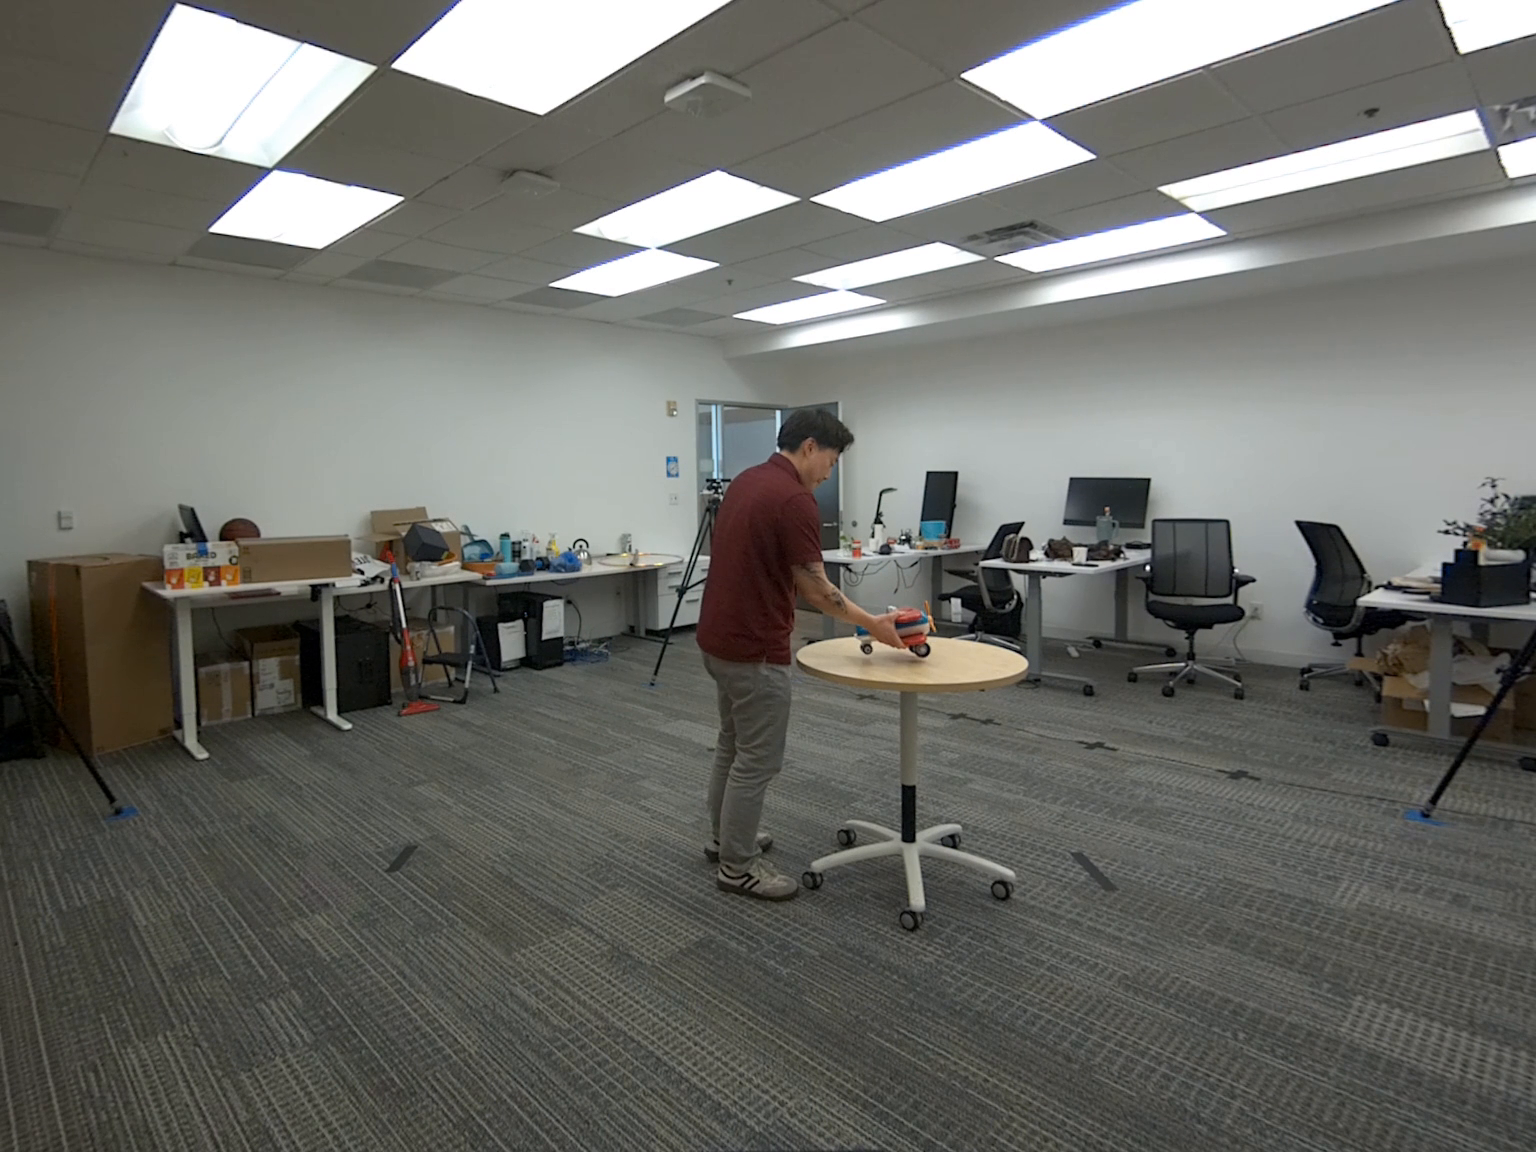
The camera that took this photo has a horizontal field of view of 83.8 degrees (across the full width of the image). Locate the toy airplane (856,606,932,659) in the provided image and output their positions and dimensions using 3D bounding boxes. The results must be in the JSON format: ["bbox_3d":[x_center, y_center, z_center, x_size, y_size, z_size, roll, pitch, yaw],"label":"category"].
[{"bbox_3d":[0.425,0.185,2.840,0.253,0.156,0.258,0,3,-29],"label":"toy airplane"}]
